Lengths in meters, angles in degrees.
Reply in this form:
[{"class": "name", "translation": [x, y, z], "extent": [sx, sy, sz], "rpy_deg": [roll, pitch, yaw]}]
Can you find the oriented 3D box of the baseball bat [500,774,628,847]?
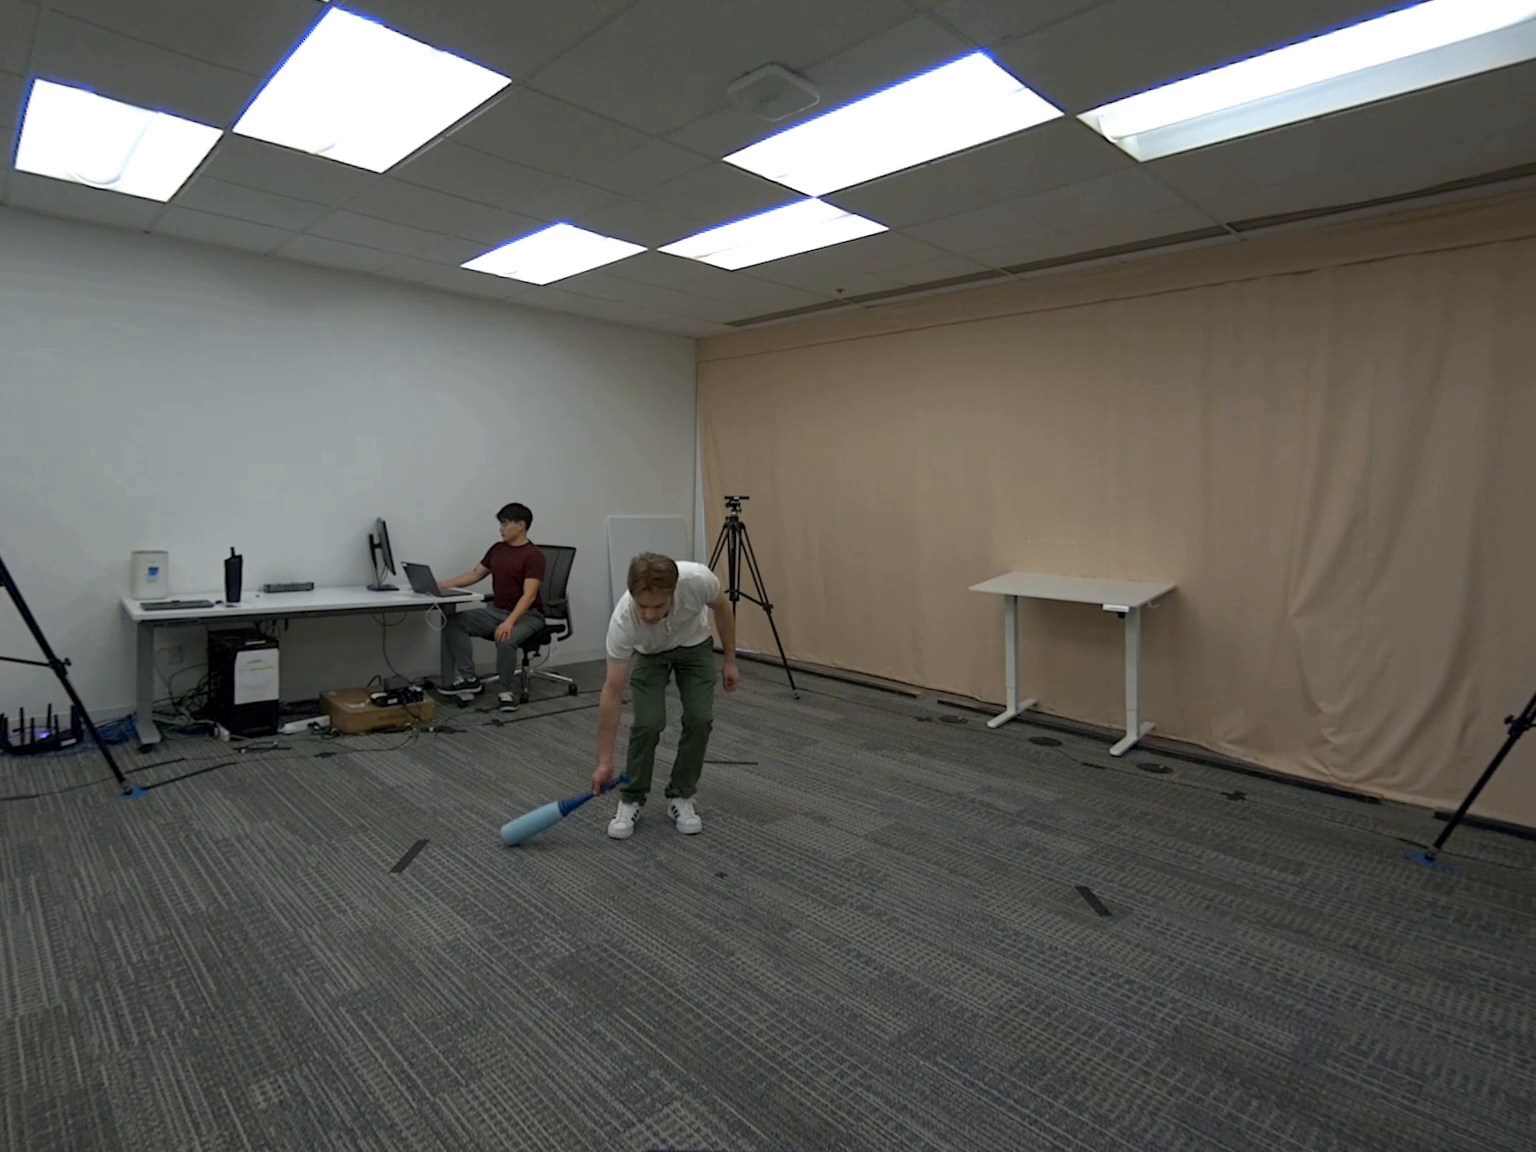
[{"class": "baseball bat", "translation": [-0.802, 0.921, 3.320], "extent": [0.543, 0.089, 0.089], "rpy_deg": [-24, 4, 1]}]
